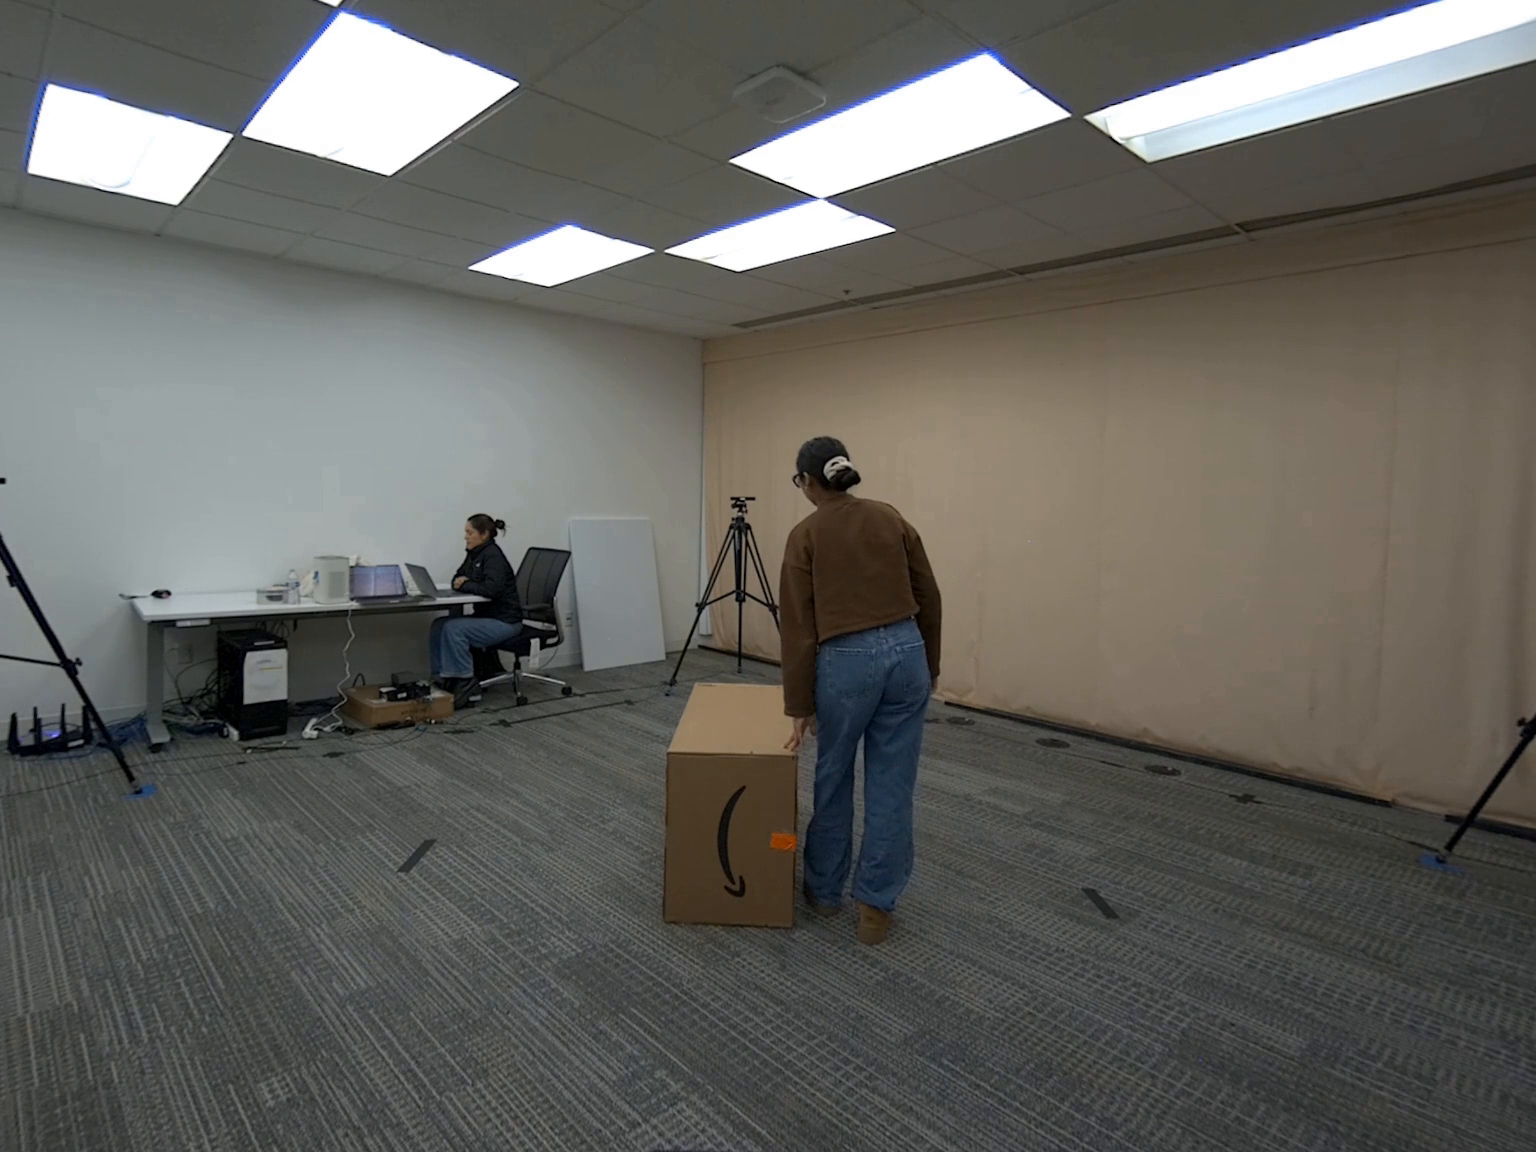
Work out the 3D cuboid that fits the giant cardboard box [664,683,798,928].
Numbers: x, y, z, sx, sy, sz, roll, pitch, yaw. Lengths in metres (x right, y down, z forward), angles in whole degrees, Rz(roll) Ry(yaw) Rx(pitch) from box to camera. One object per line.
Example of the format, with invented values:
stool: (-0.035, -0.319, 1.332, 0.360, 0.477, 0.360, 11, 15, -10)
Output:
giant cardboard box: (-0.127, 0.809, 3.239, 0.448, 0.582, 1.028, 1, 5, 1)
